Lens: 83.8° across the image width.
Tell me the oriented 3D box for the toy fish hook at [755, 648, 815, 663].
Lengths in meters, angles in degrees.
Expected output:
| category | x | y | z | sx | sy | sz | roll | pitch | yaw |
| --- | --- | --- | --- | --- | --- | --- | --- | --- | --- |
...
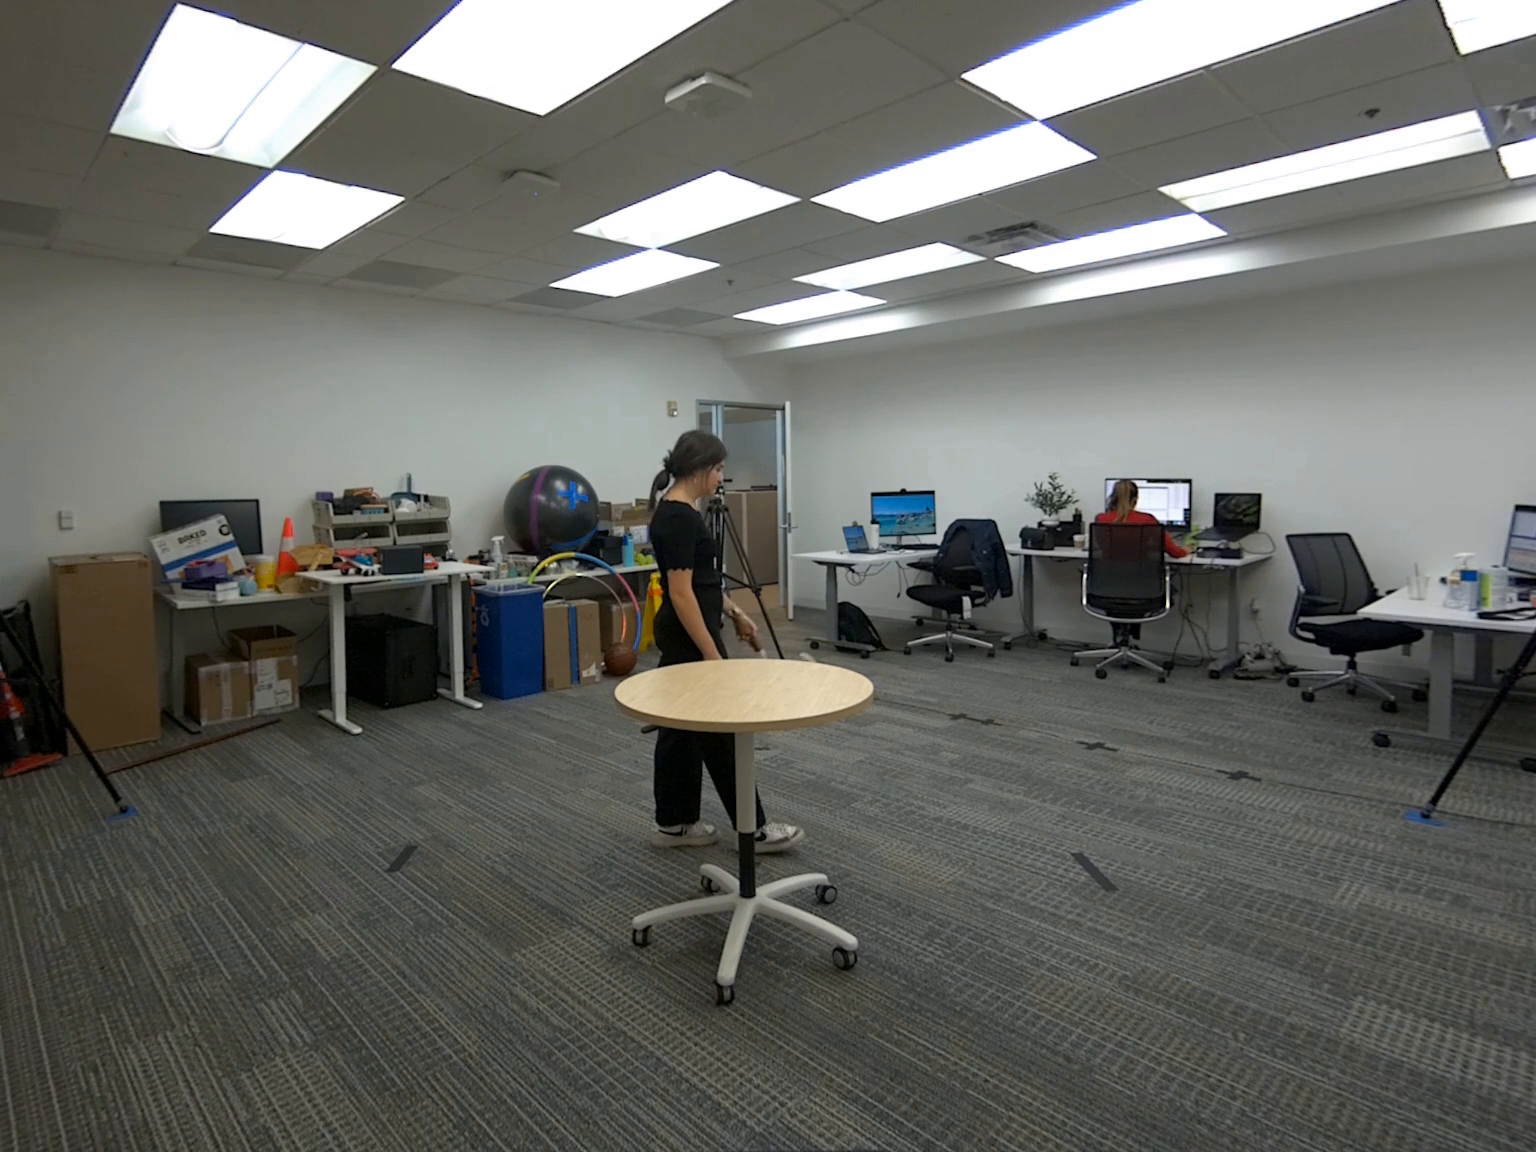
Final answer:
| category | x | y | z | sx | sy | sz | roll | pitch | yaw |
| --- | --- | --- | --- | --- | --- | --- | --- | --- | --- |
| toy fish hook | 0.026 | 0.276 | 3.416 | 0.224 | 0.504 | 0.048 | -35 | 4 | -7 |
